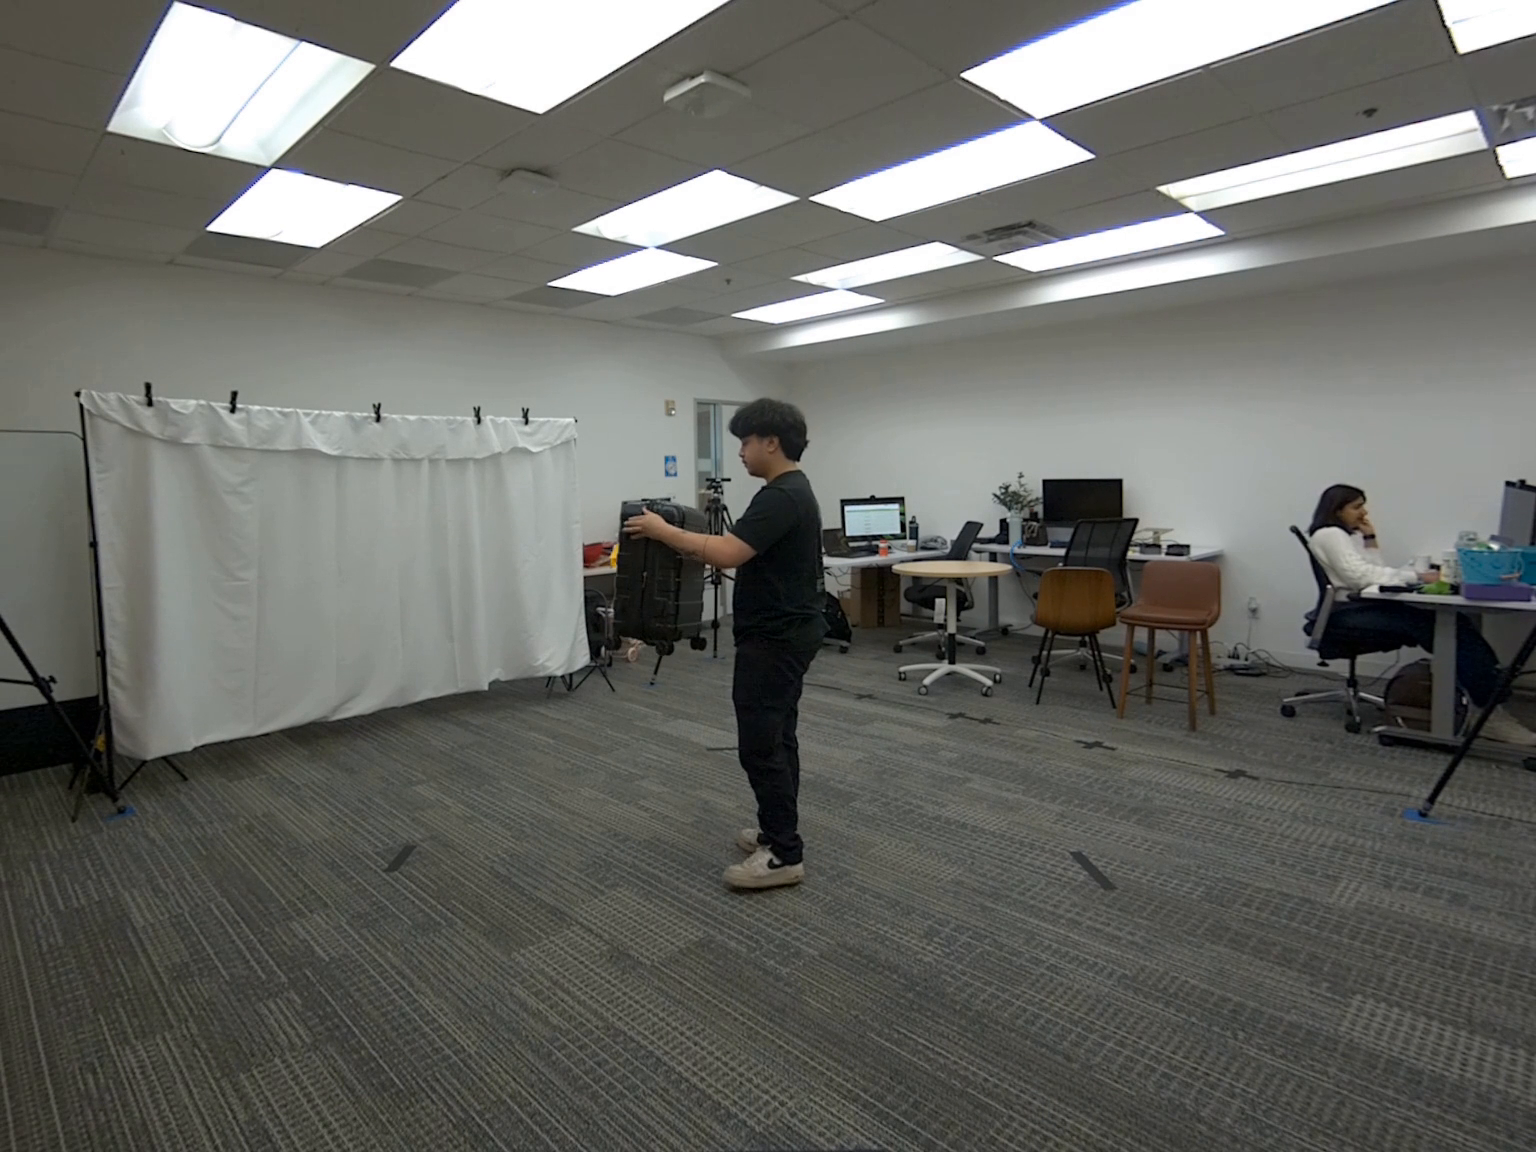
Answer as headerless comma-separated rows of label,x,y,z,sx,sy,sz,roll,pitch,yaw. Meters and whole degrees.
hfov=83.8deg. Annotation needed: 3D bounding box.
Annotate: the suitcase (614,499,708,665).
suitcase,-0.383,-0.004,3.152,0.253,0.550,0.368,3,-2,17
